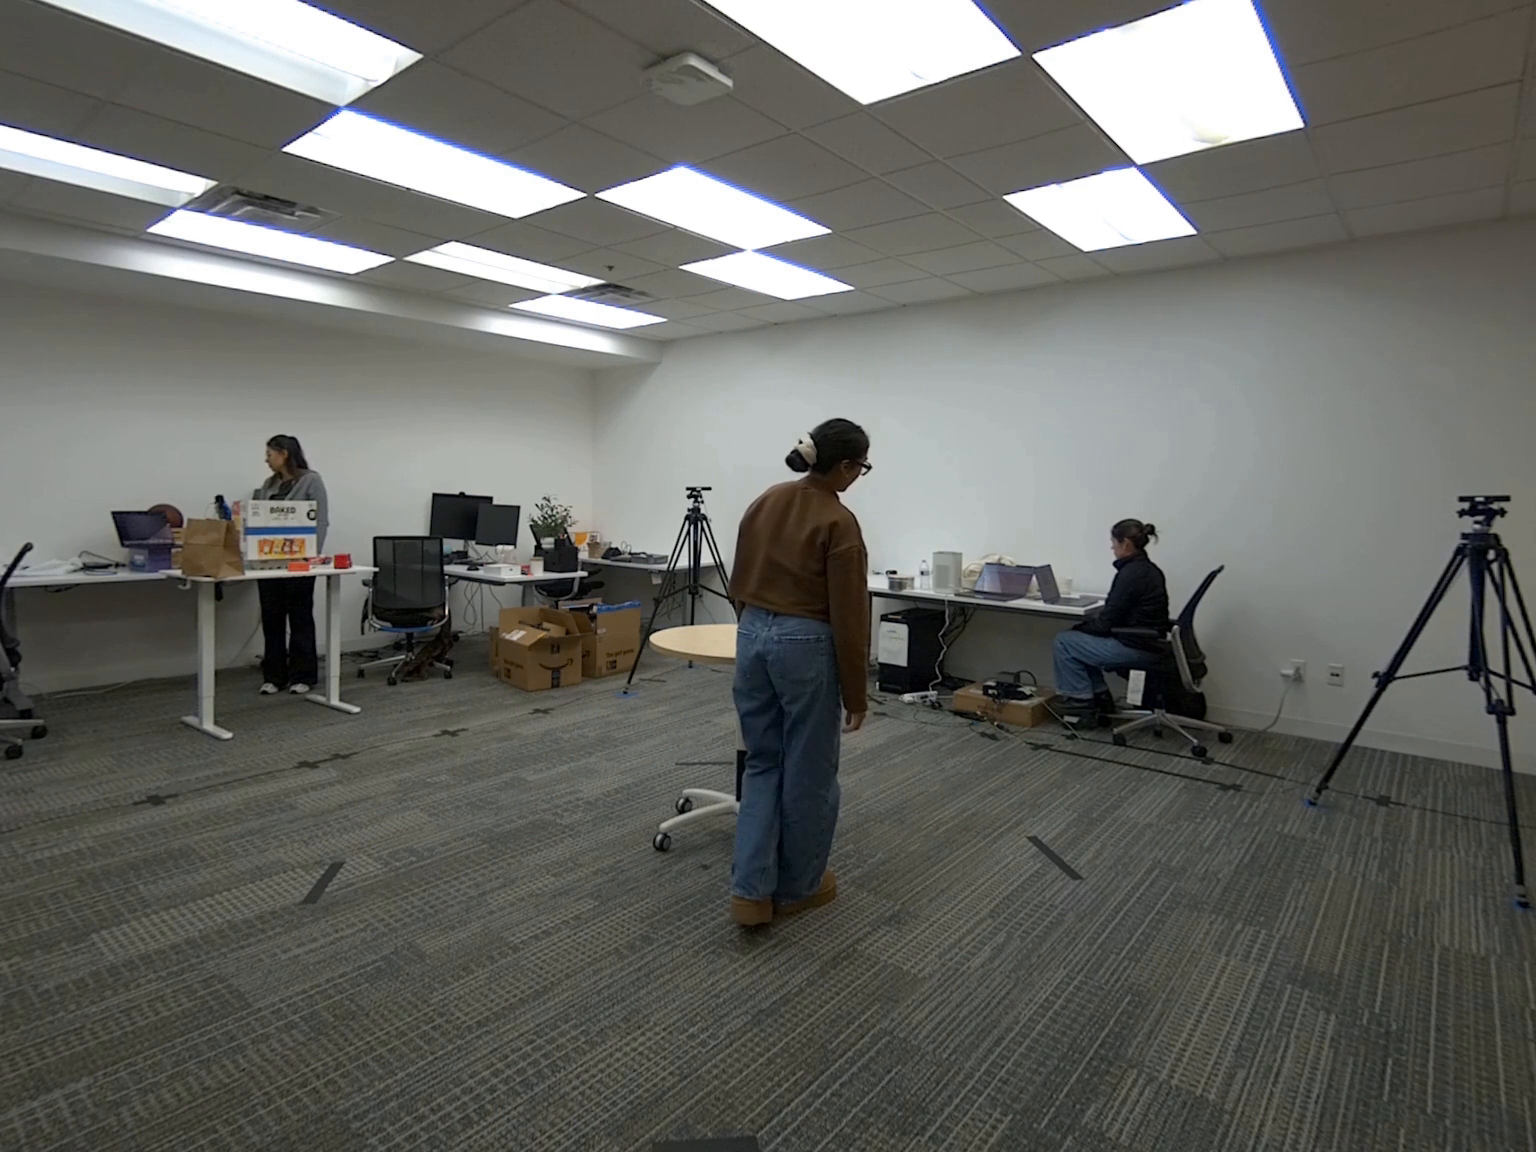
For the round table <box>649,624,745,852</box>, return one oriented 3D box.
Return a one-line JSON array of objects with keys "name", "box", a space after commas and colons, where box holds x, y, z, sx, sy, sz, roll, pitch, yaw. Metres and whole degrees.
[{"name": "round table", "box": [-0.109, 0.647, 3.400, 0.763, 0.792, 0.767, 1, 4, -2]}]
